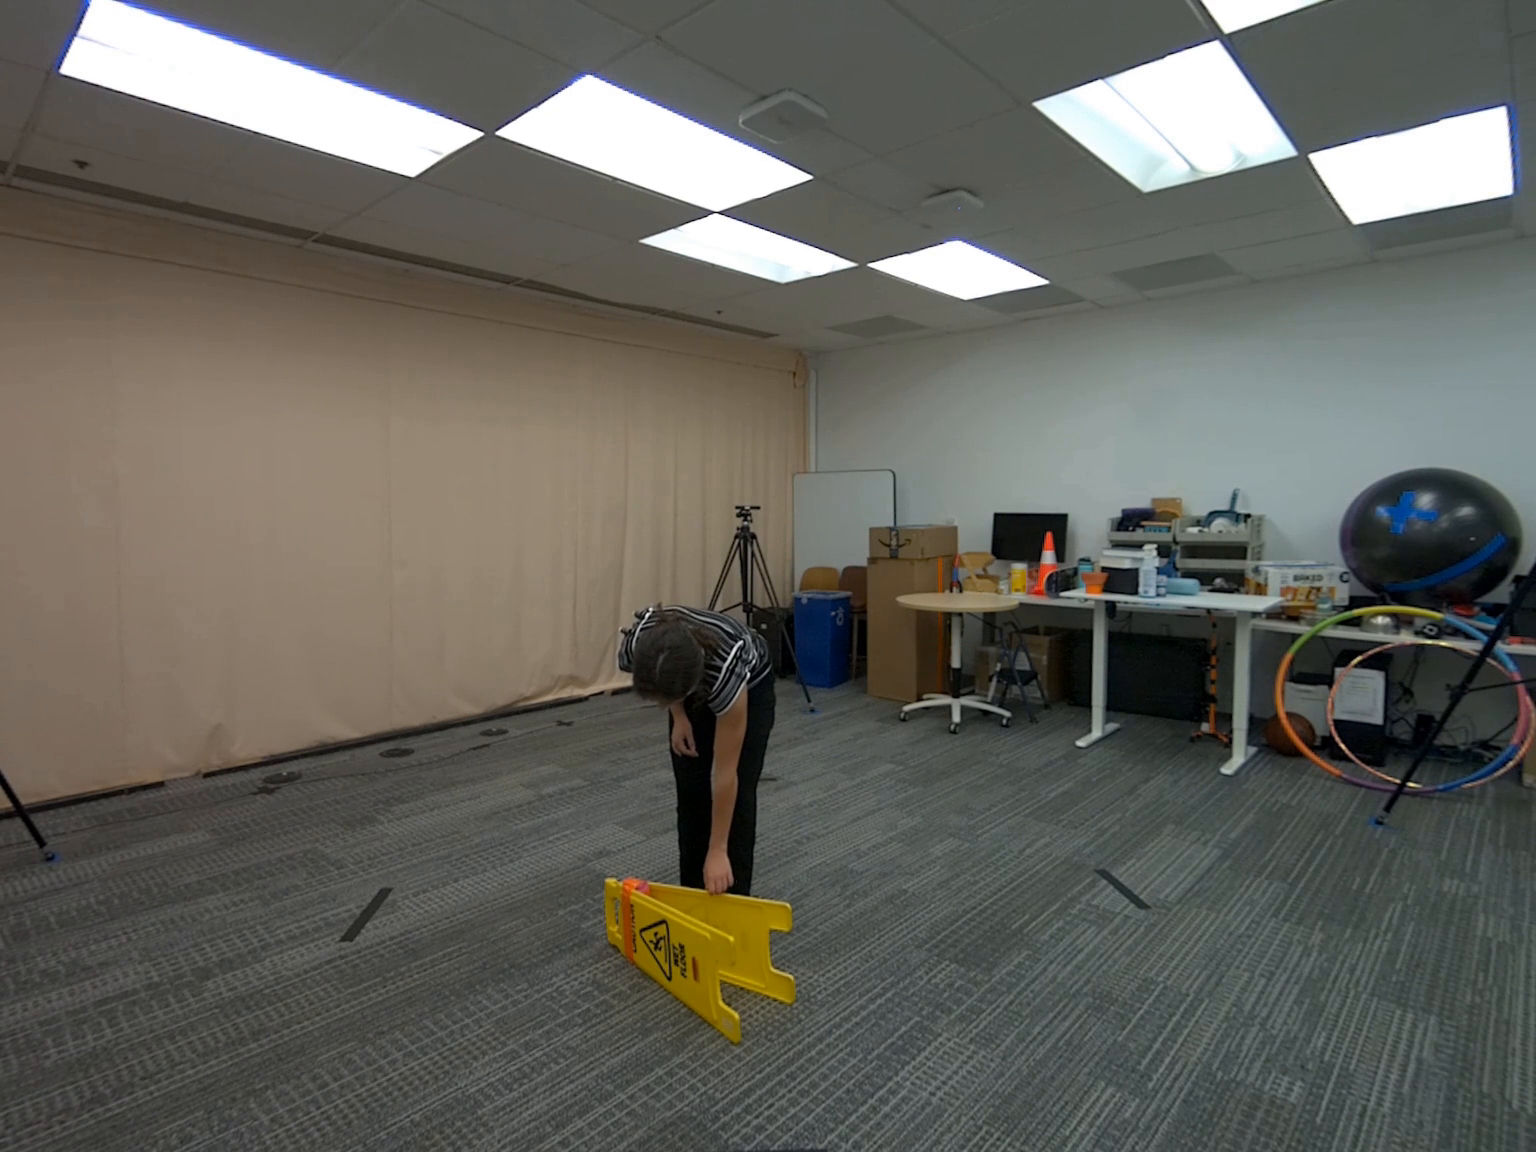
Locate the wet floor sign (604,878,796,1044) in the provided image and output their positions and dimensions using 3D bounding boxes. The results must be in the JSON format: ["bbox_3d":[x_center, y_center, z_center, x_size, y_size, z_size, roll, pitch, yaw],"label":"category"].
[{"bbox_3d":[-0.260,1.065,2.468,0.666,0.282,0.281,0,4,39],"label":"wet floor sign"}]
